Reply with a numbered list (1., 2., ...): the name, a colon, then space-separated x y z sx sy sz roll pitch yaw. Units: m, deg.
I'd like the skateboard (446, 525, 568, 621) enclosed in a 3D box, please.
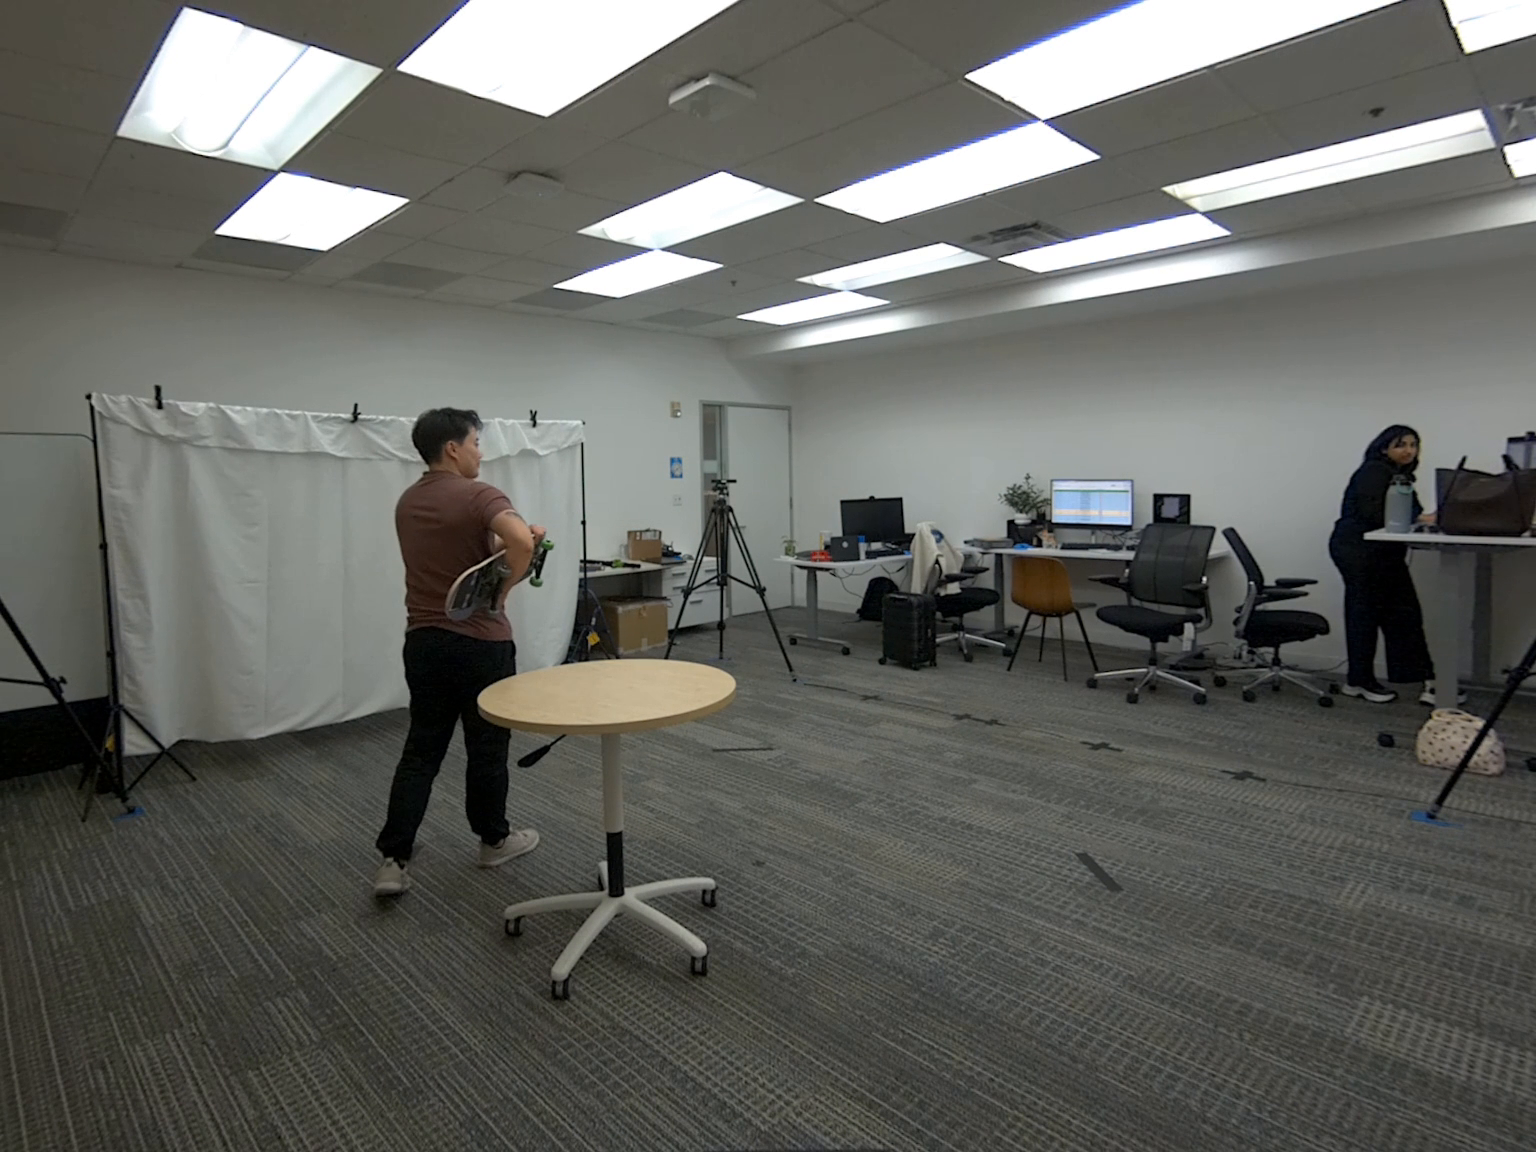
1. skateboard: -0.914 0.004 3.017 0.111 0.192 0.788 17 16 2
